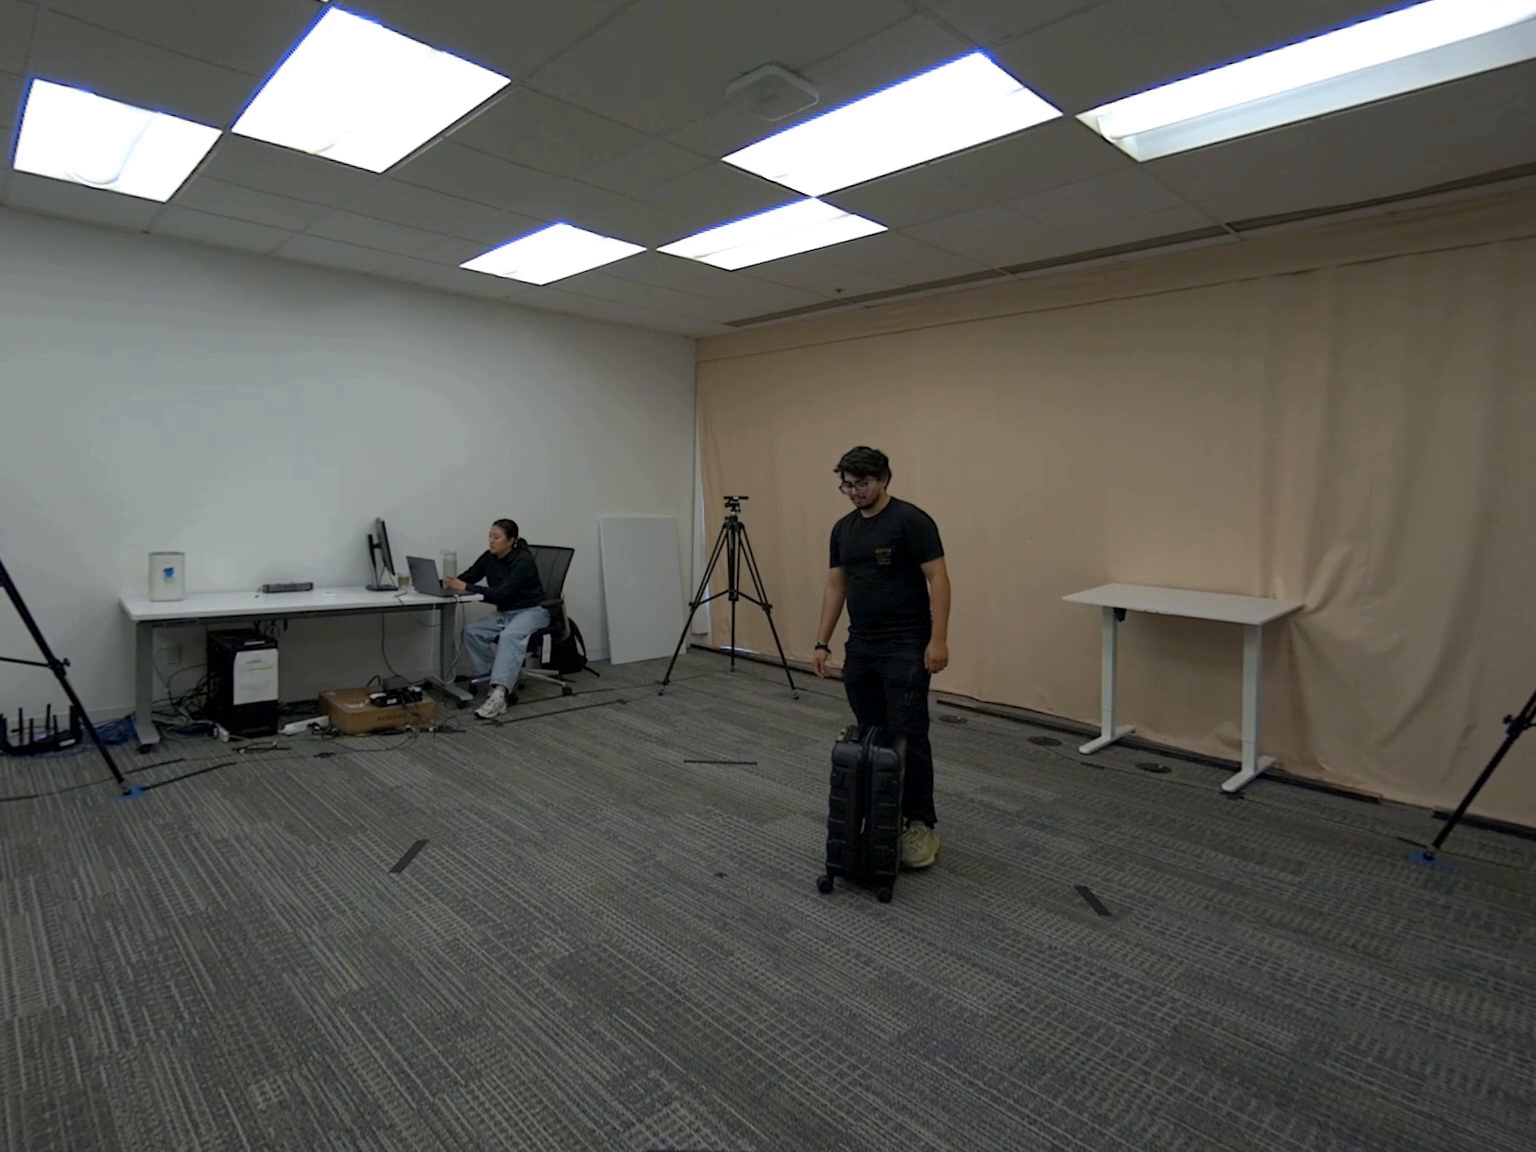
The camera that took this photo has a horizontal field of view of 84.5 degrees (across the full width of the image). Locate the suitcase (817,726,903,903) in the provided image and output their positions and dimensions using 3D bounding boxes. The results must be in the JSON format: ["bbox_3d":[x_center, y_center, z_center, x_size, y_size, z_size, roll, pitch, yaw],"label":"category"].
[{"bbox_3d":[0.355,0.841,3.087,0.251,0.548,0.372,4,3,13],"label":"suitcase"}]
